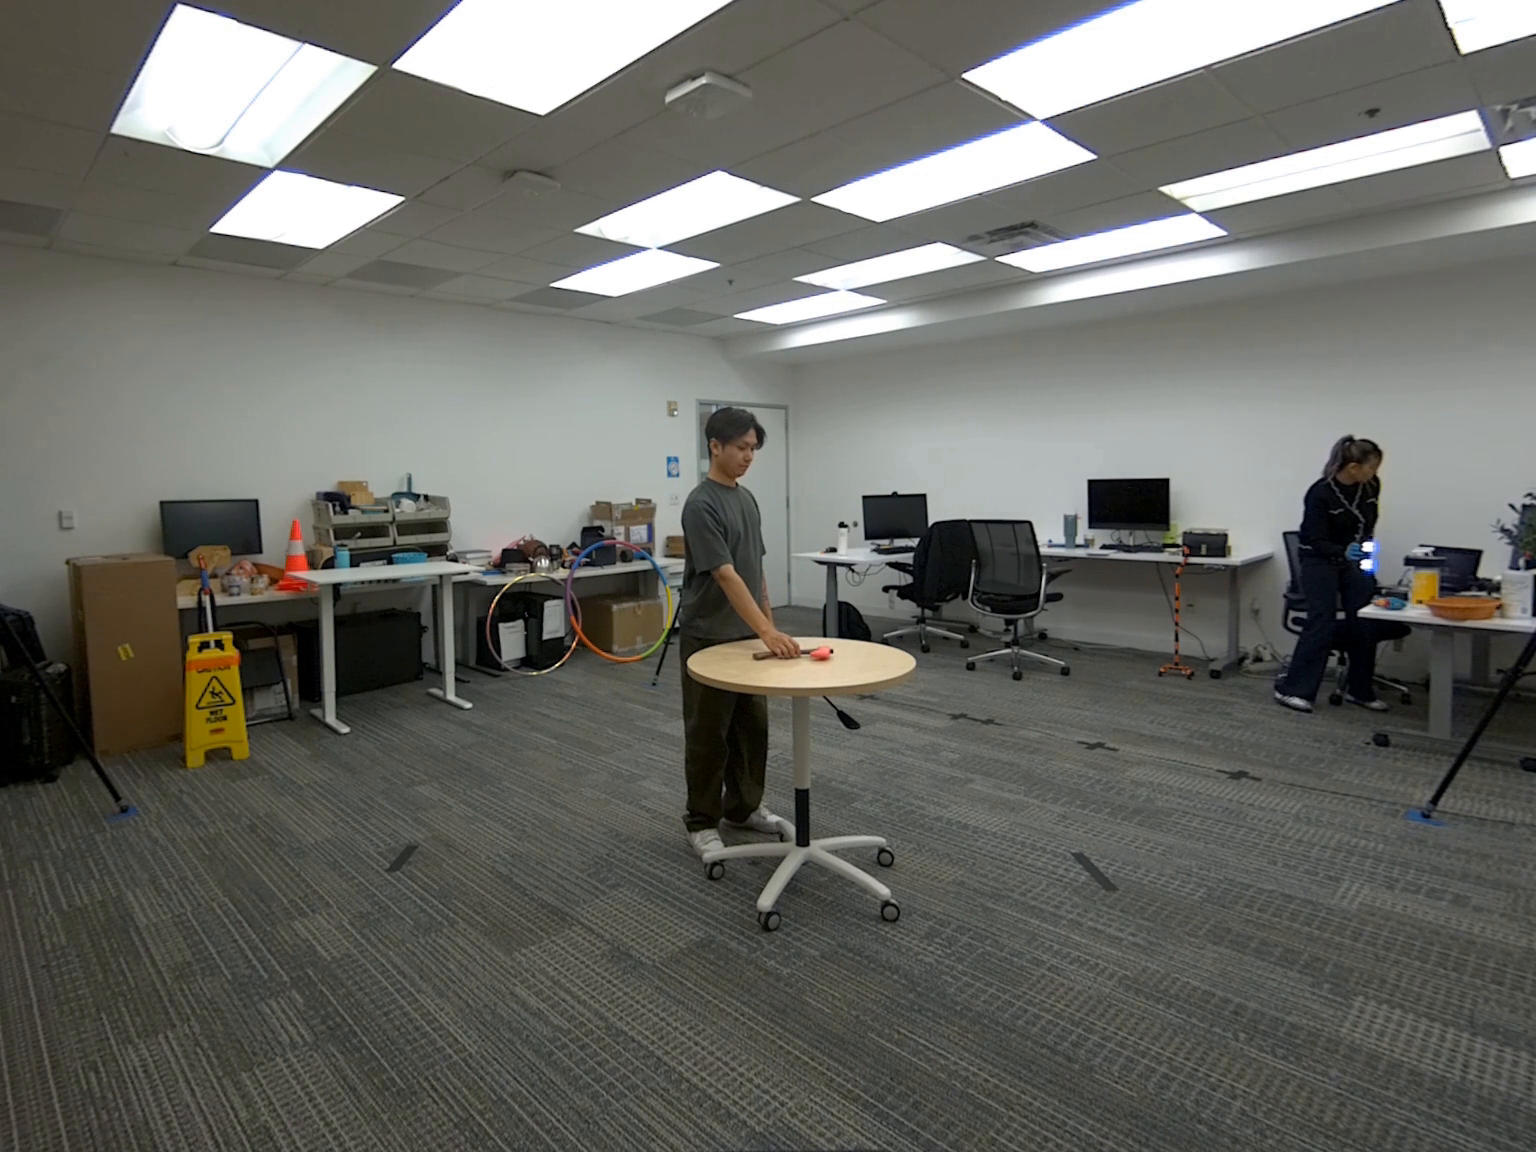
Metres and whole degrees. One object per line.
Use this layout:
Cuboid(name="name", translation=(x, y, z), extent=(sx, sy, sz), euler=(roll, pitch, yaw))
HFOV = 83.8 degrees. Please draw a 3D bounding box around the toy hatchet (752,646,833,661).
Cuboid(name="toy hatchet", translation=(0.106, 0.267, 2.890), extent=(0.266, 0.029, 0.133), euler=(-4, 4, -16))
